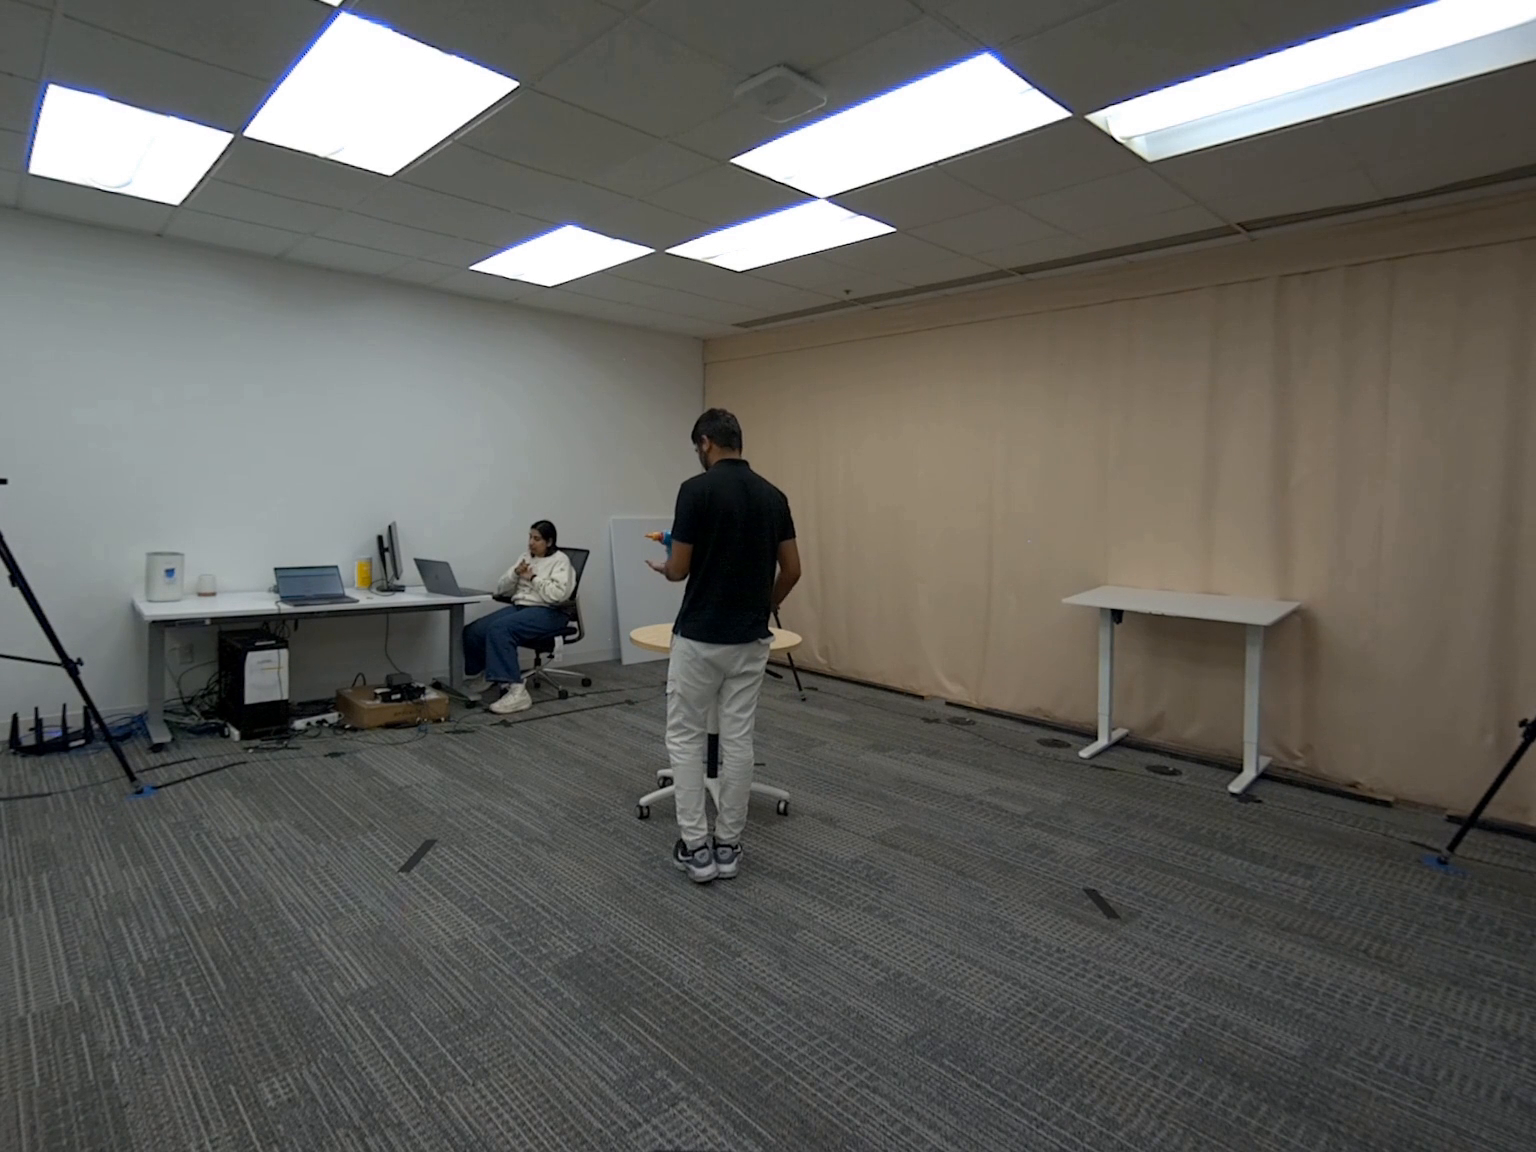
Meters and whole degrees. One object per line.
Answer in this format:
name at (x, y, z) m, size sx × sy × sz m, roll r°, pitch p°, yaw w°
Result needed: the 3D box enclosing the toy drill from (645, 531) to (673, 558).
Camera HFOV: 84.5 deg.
toy drill at (-0.425, -0.113, 3.350) m, size 0.168 × 0.145 × 0.062 m, roll 6°, pitch 5°, yaw -15°
